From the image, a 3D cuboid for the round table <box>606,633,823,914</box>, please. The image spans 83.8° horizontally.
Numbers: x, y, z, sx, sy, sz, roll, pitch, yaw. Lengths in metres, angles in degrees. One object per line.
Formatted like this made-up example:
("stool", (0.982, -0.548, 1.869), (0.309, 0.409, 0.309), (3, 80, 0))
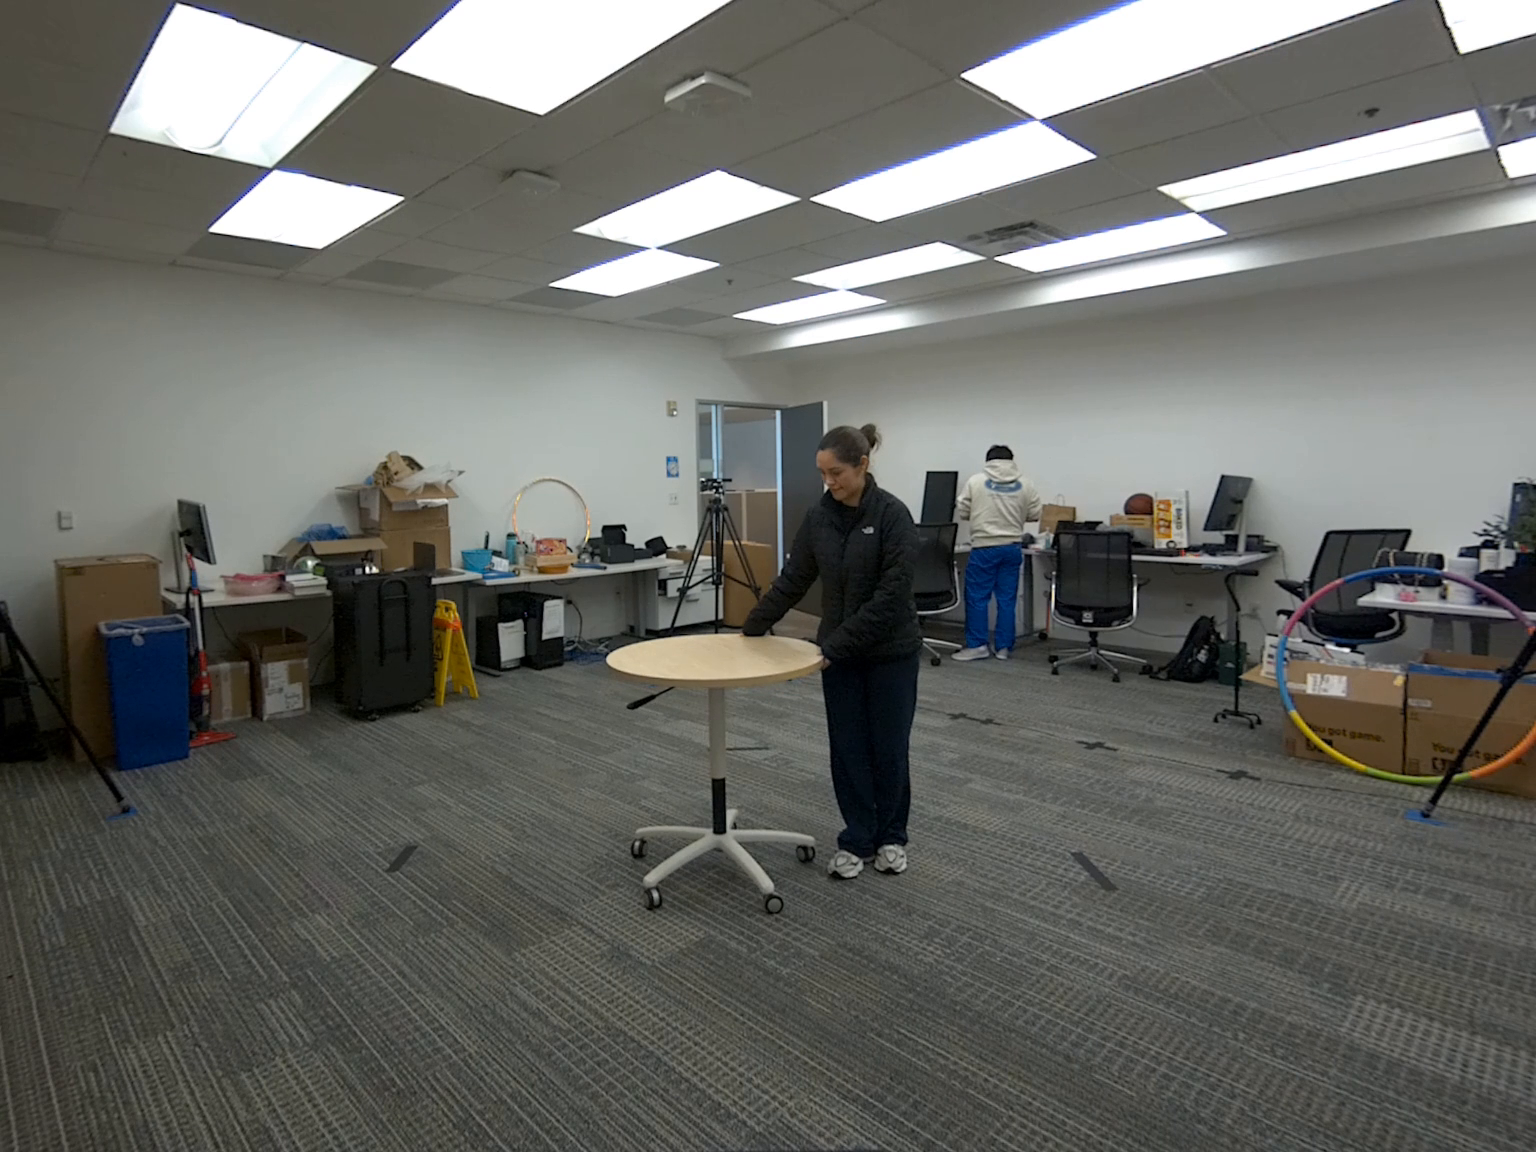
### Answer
("round table", (-0.190, 0.659, 3.054), (0.784, 0.783, 0.789), (-1, 5, -2))
